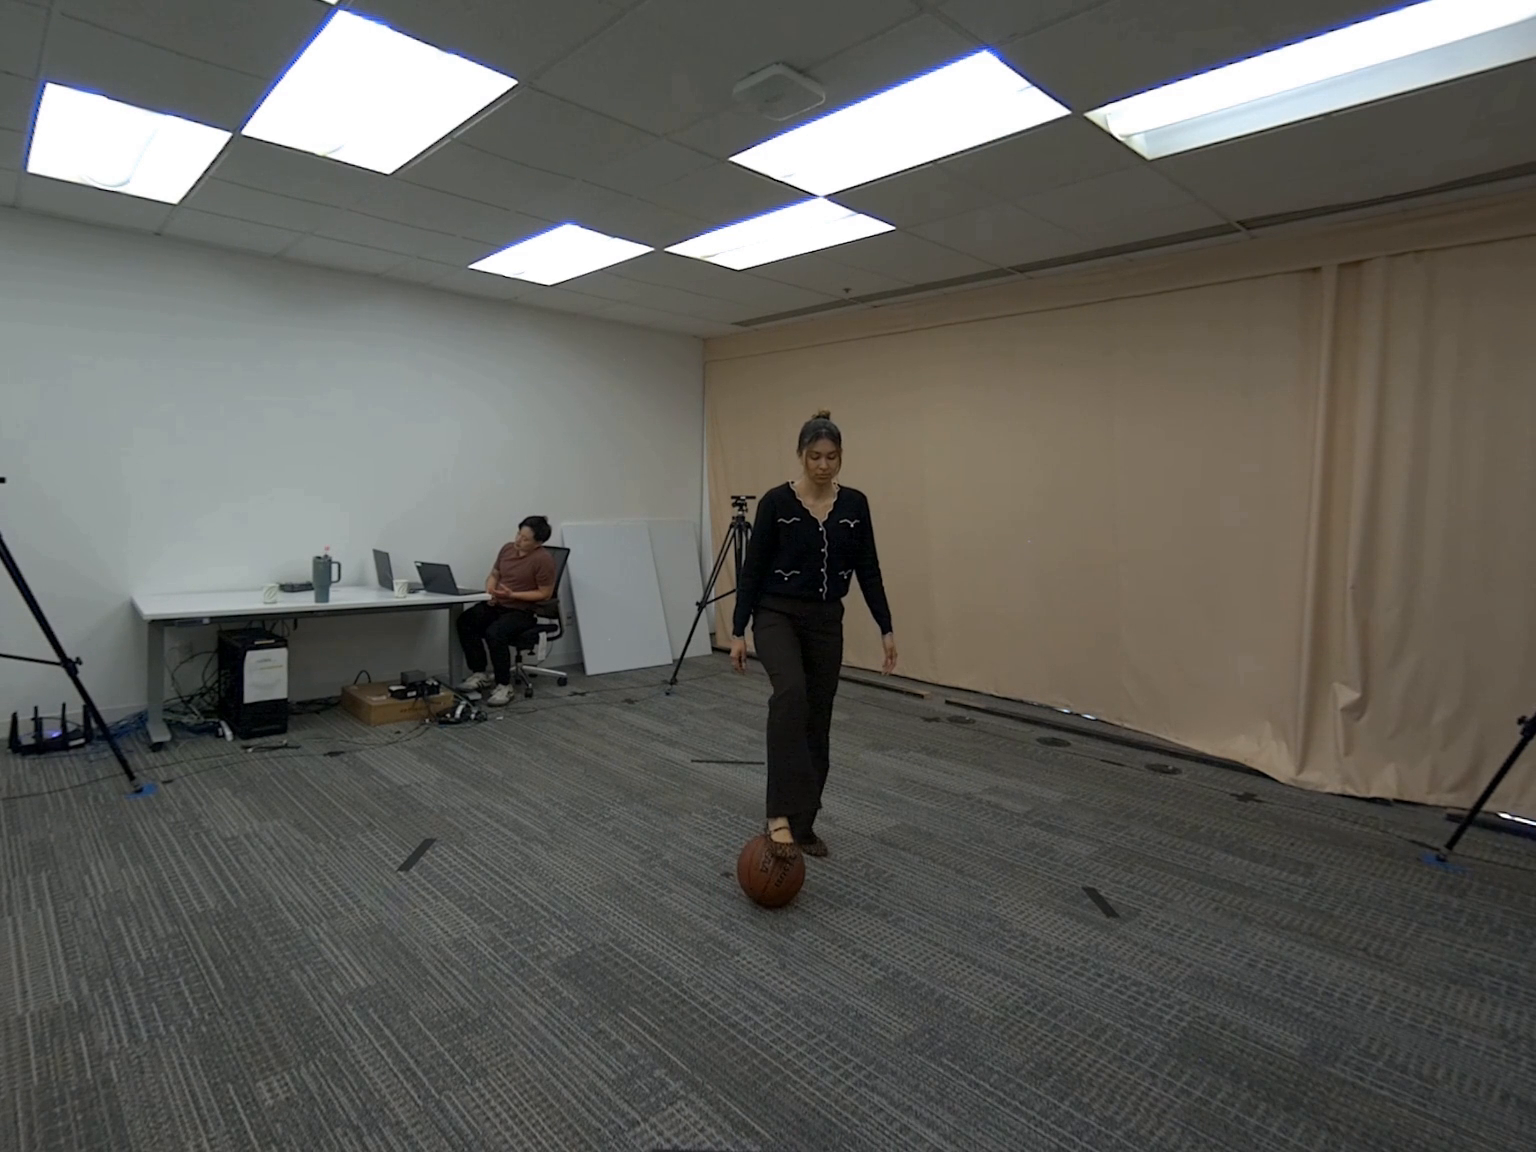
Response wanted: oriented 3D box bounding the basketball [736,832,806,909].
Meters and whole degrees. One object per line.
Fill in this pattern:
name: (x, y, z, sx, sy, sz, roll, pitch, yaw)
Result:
basketball: (0.008, 1.012, 2.901, 0.236, 0.235, 0.237, 1, 4, -1)
